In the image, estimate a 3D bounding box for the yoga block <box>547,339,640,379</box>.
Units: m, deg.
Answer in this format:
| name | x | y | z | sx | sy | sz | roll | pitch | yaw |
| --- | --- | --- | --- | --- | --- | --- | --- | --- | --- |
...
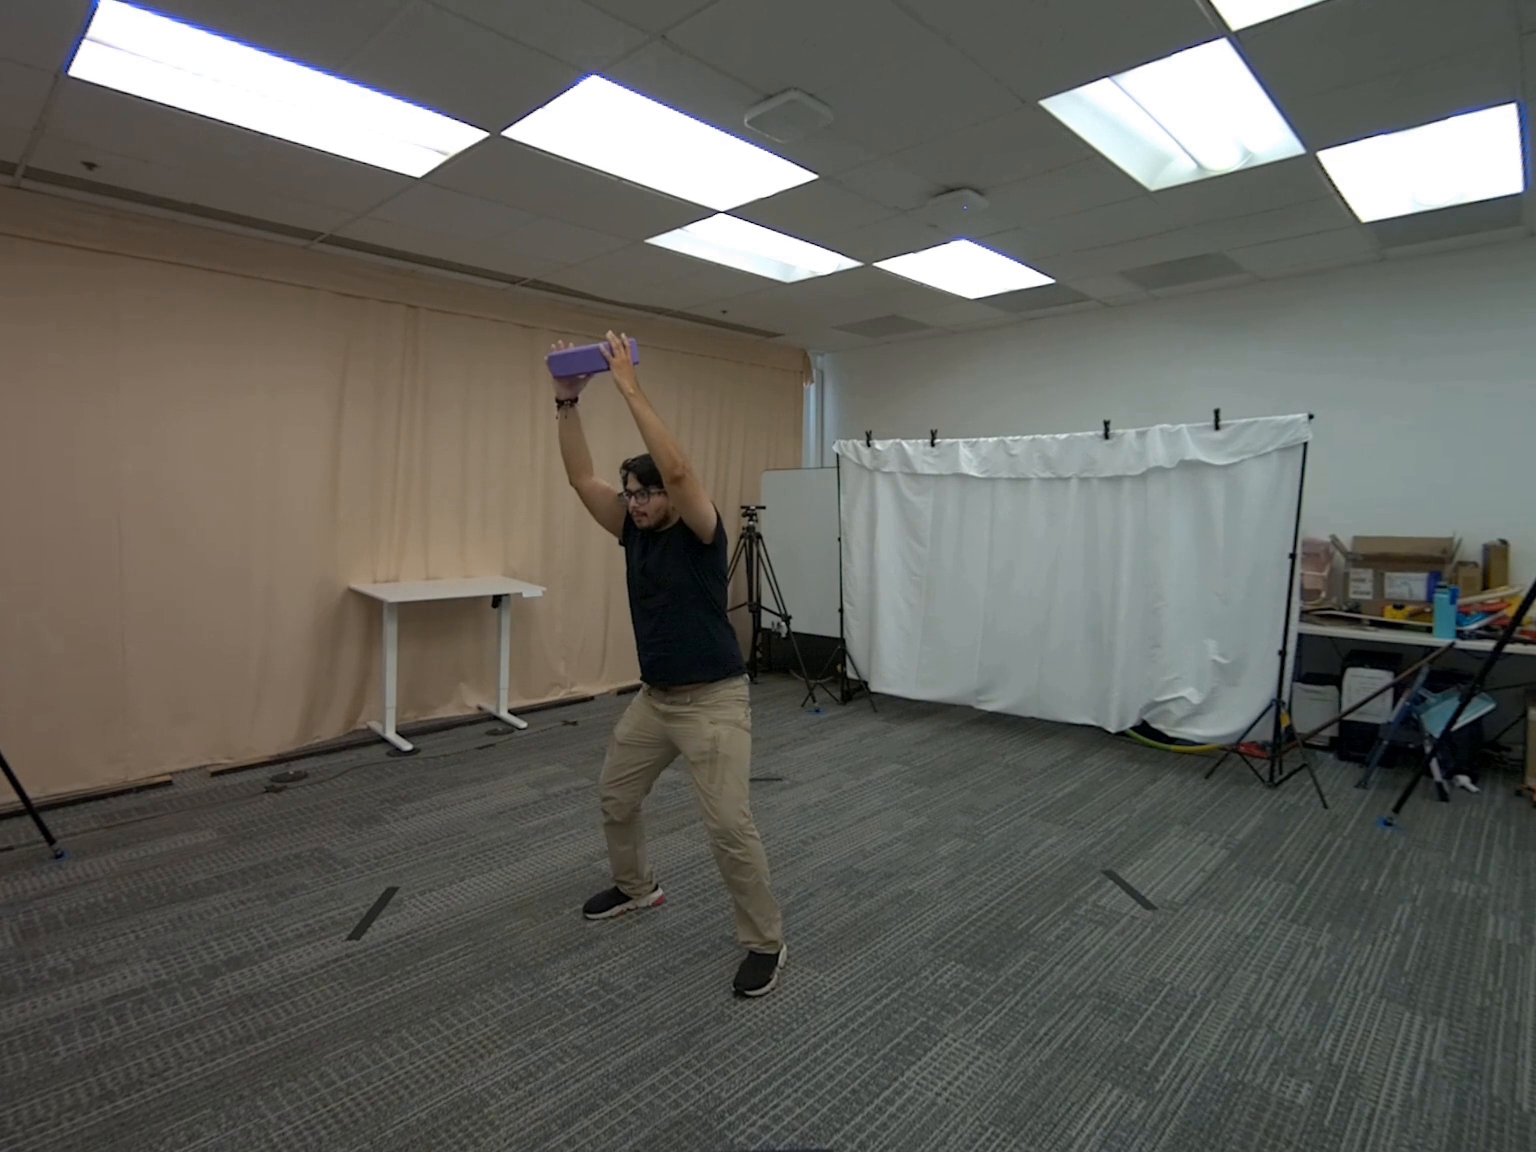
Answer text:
| name | x | y | z | sx | sy | sz | roll | pitch | yaw |
| --- | --- | --- | --- | --- | --- | --- | --- | --- | --- |
| yoga block | -0.493 | -0.625 | 2.414 | 0.237 | 0.075 | 0.146 | 4 | 24 | 39 |
